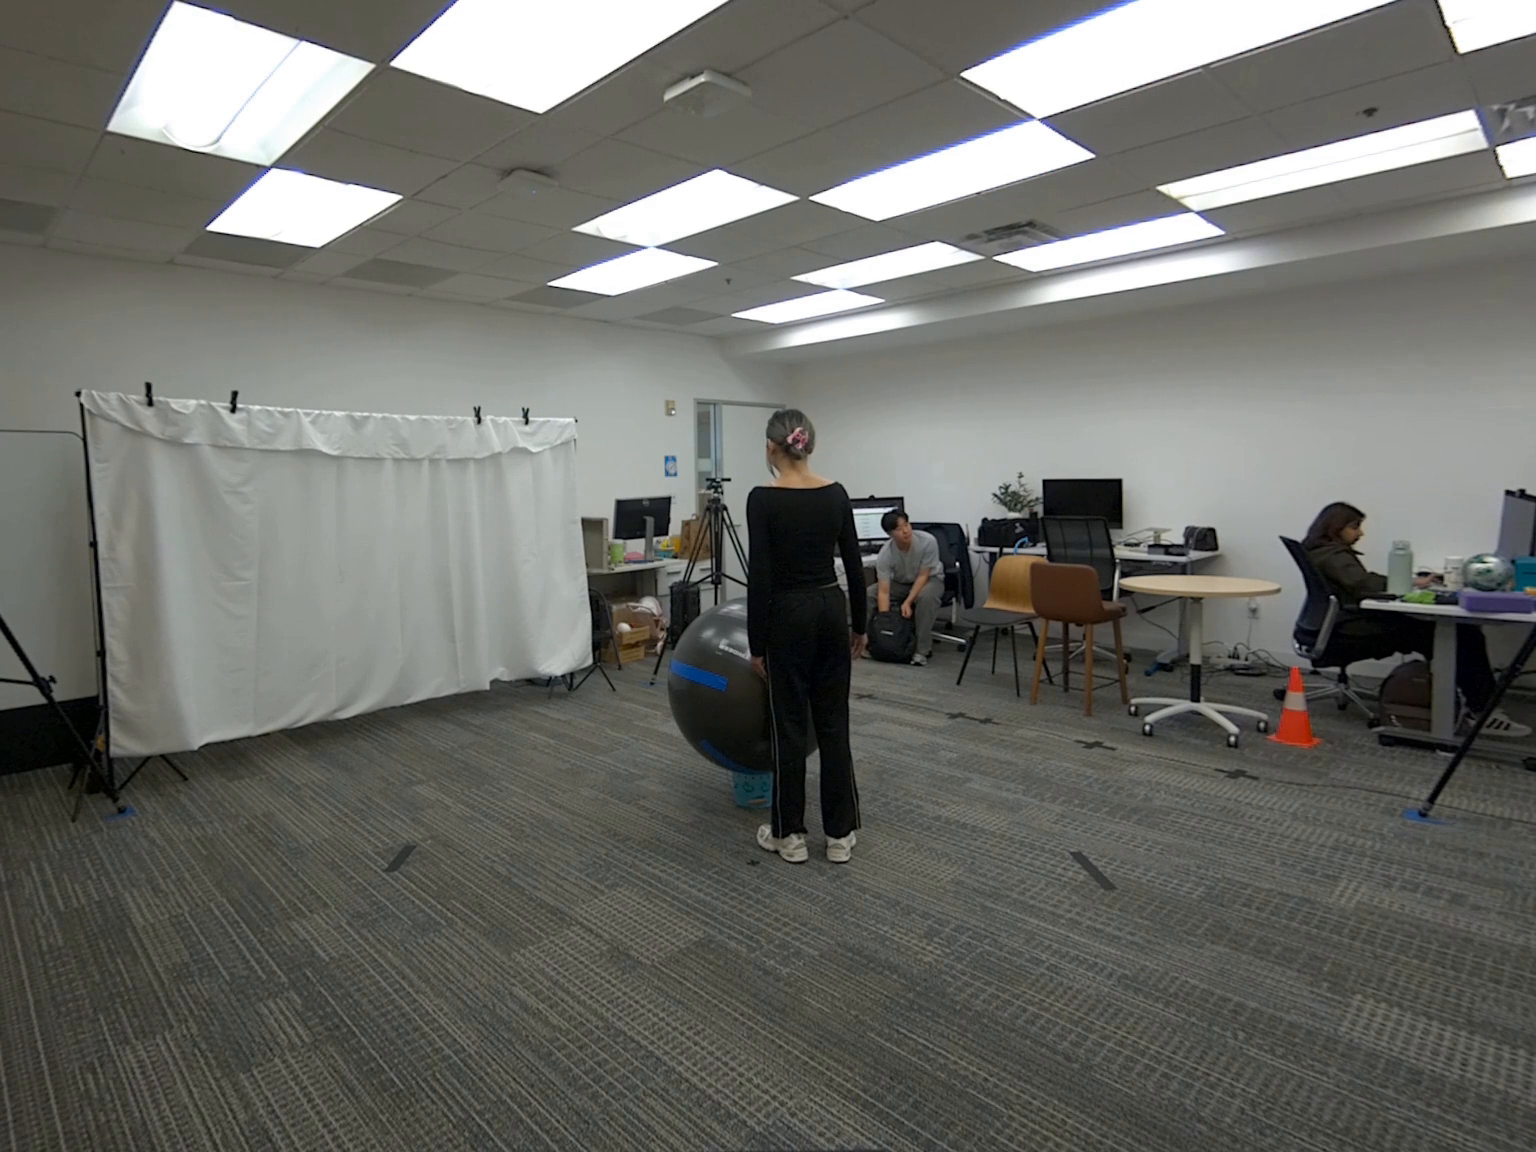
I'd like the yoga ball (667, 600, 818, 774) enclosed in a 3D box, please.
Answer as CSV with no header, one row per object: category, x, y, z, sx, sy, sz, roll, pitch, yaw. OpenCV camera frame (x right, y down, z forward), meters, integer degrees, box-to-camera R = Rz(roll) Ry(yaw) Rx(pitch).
yoga ball,-0.058,0.468,3.690,0.757,0.755,0.762,-1,5,-2
